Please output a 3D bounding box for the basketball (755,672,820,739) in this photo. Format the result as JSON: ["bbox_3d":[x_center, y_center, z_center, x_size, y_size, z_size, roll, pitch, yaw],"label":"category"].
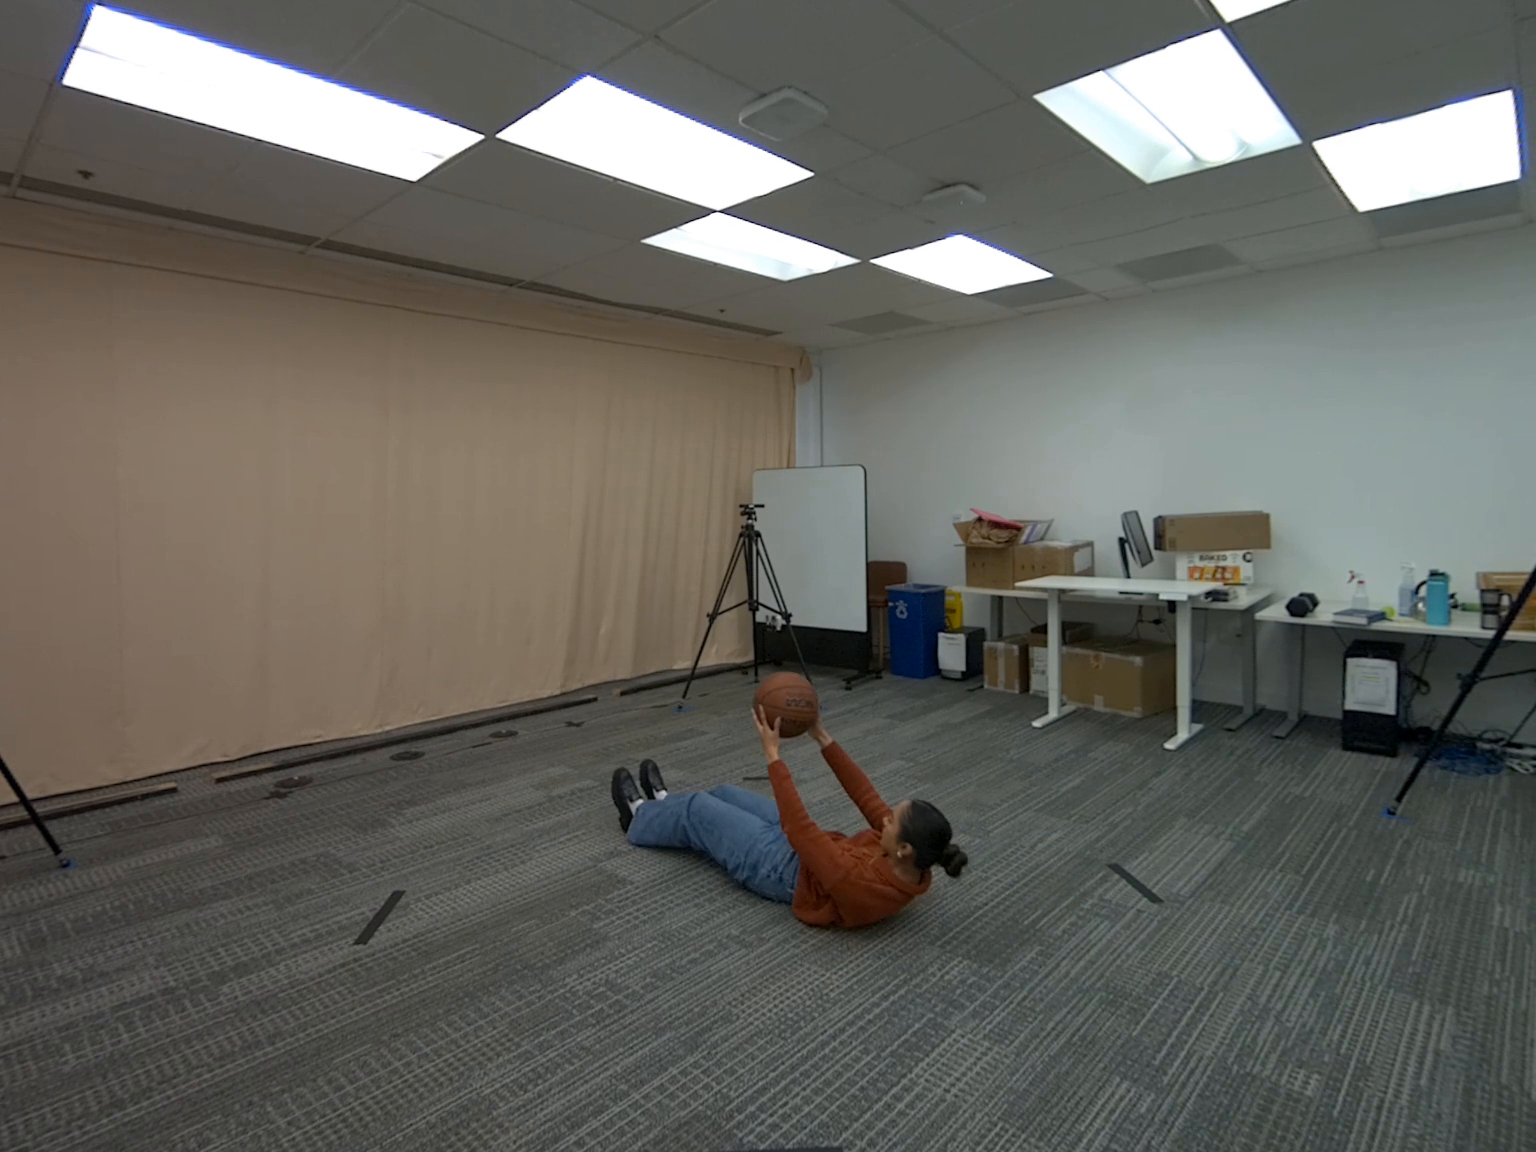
[{"bbox_3d":[0.115,0.454,2.997,0.235,0.235,0.237,2,5,-2],"label":"basketball"}]
